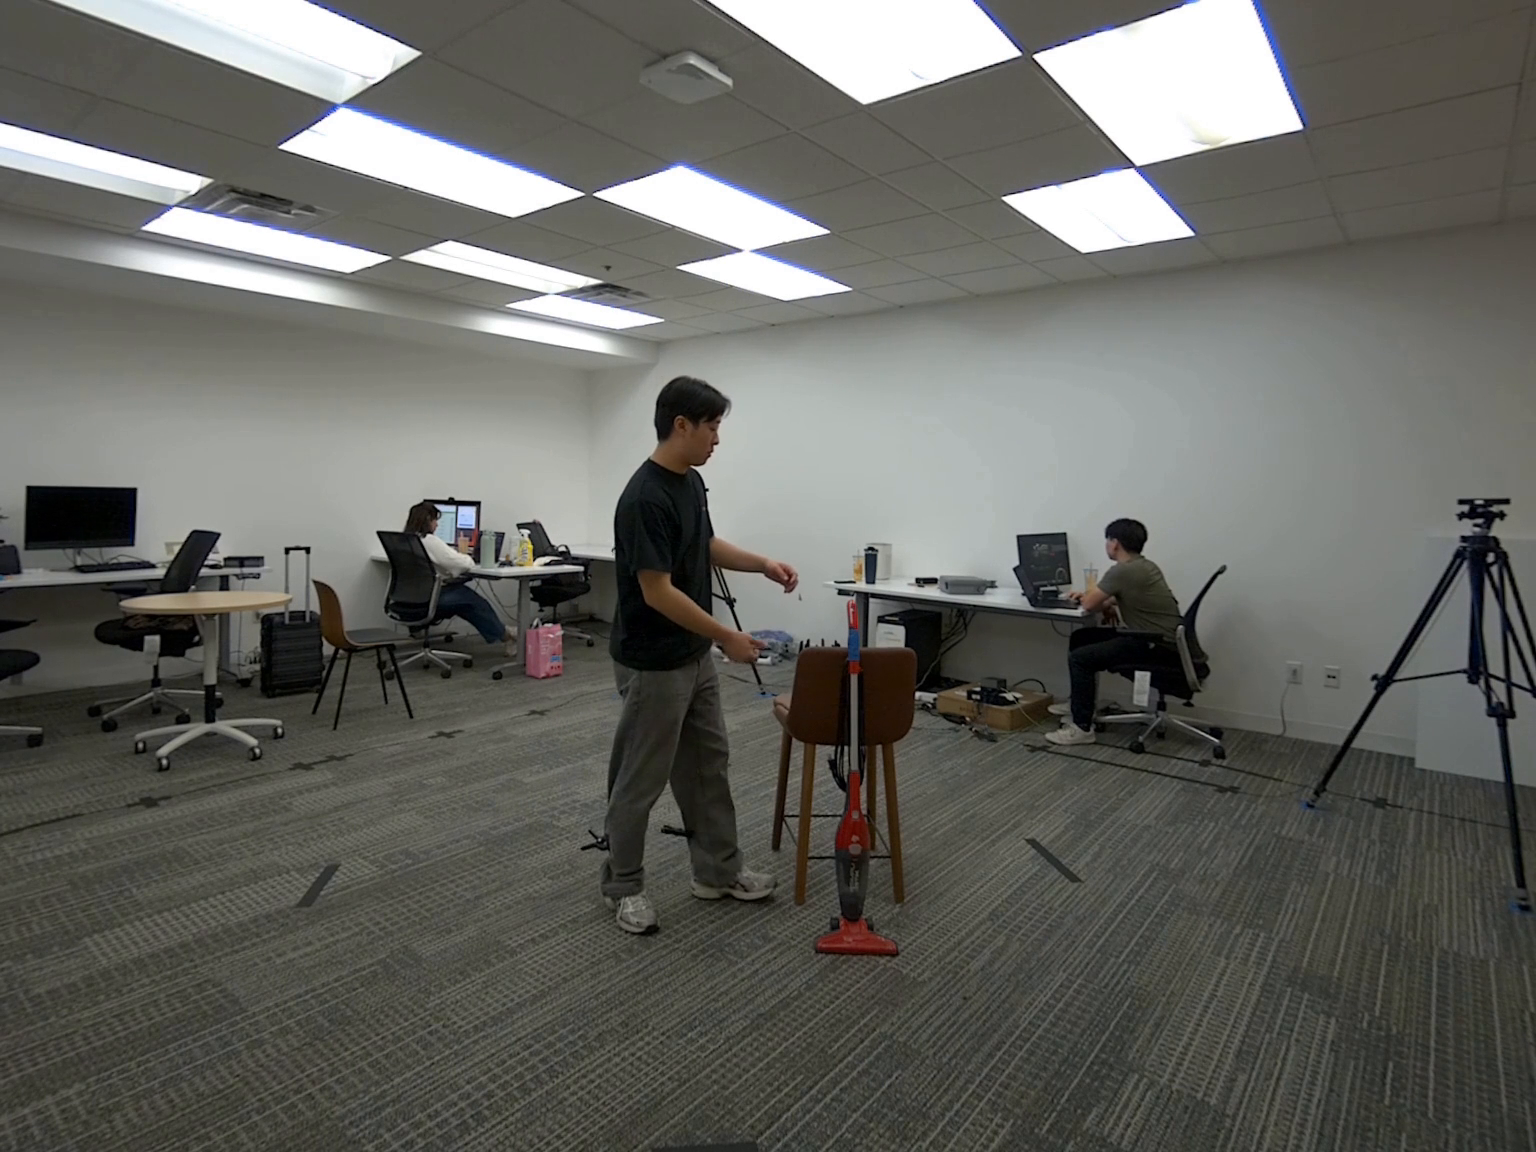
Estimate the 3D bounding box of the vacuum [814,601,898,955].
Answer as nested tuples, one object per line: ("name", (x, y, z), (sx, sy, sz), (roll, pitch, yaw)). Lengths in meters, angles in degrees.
("vacuum", (0.264, 0.608, 2.704), (0.251, 1.059, 0.143), (1, -9, -5))
